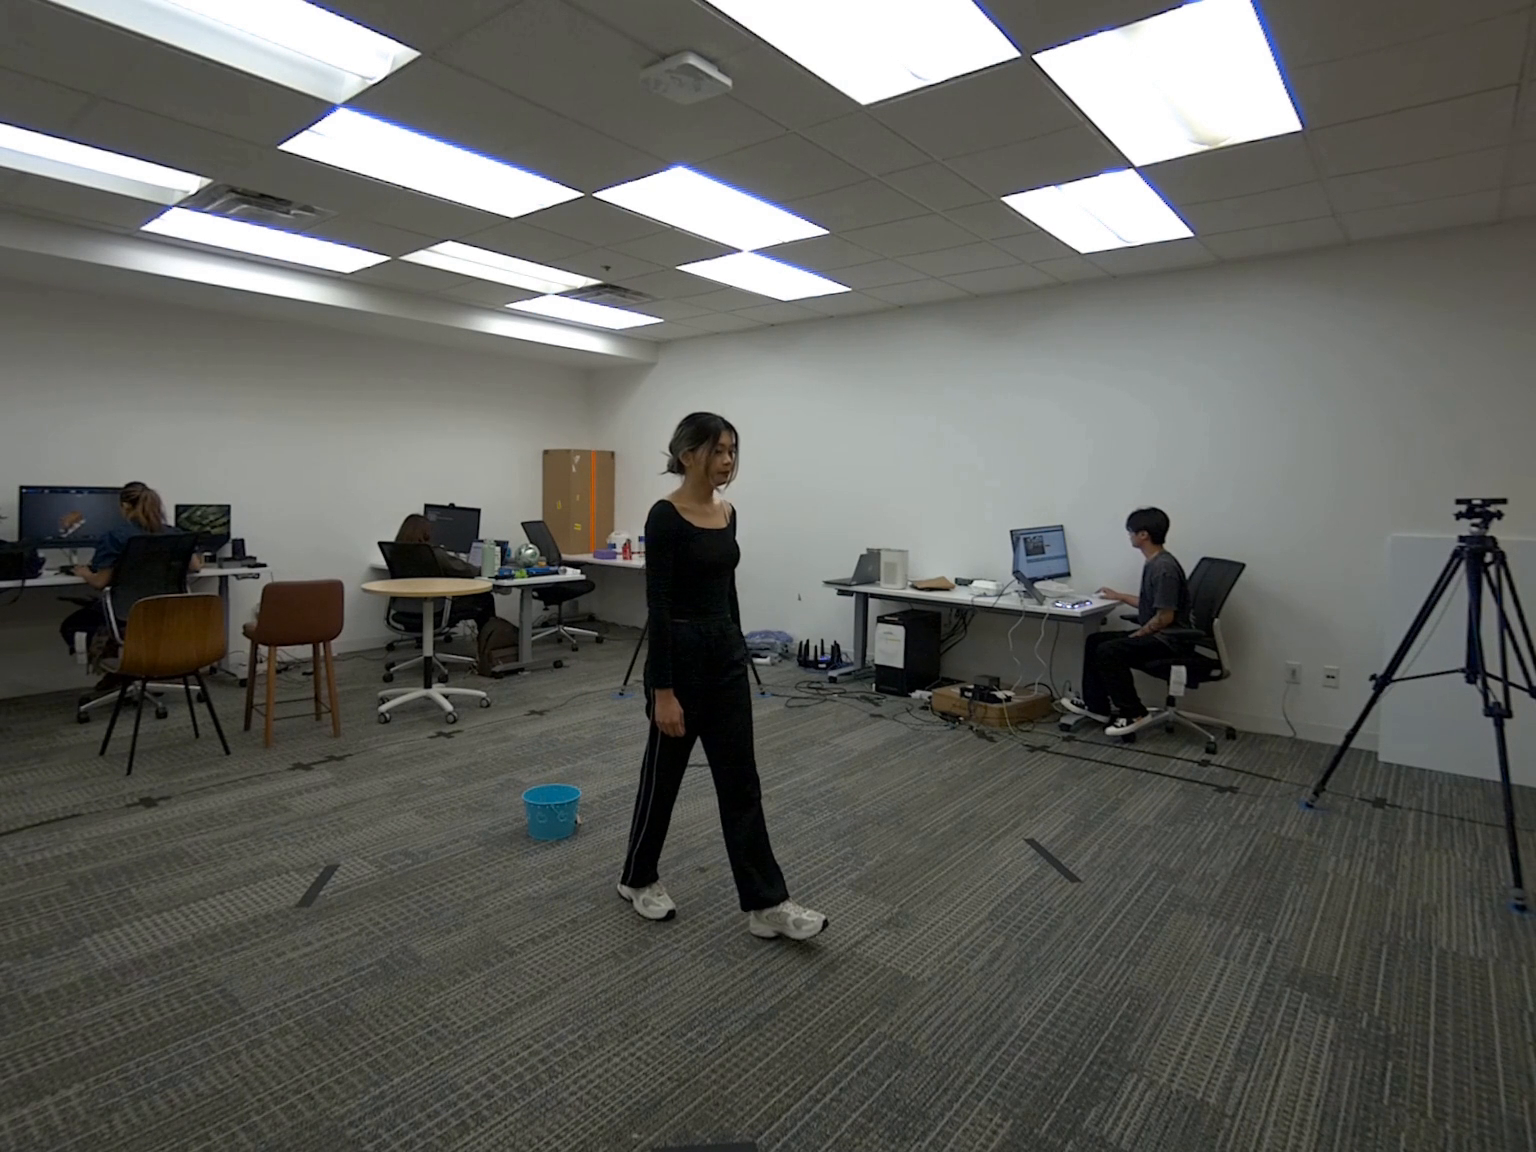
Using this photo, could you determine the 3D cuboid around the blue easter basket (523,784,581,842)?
[{"bbox_3d":[-0.882,0.946,3.435,0.243,0.155,0.244,0,4,-2],"label":"blue easter basket"}]
